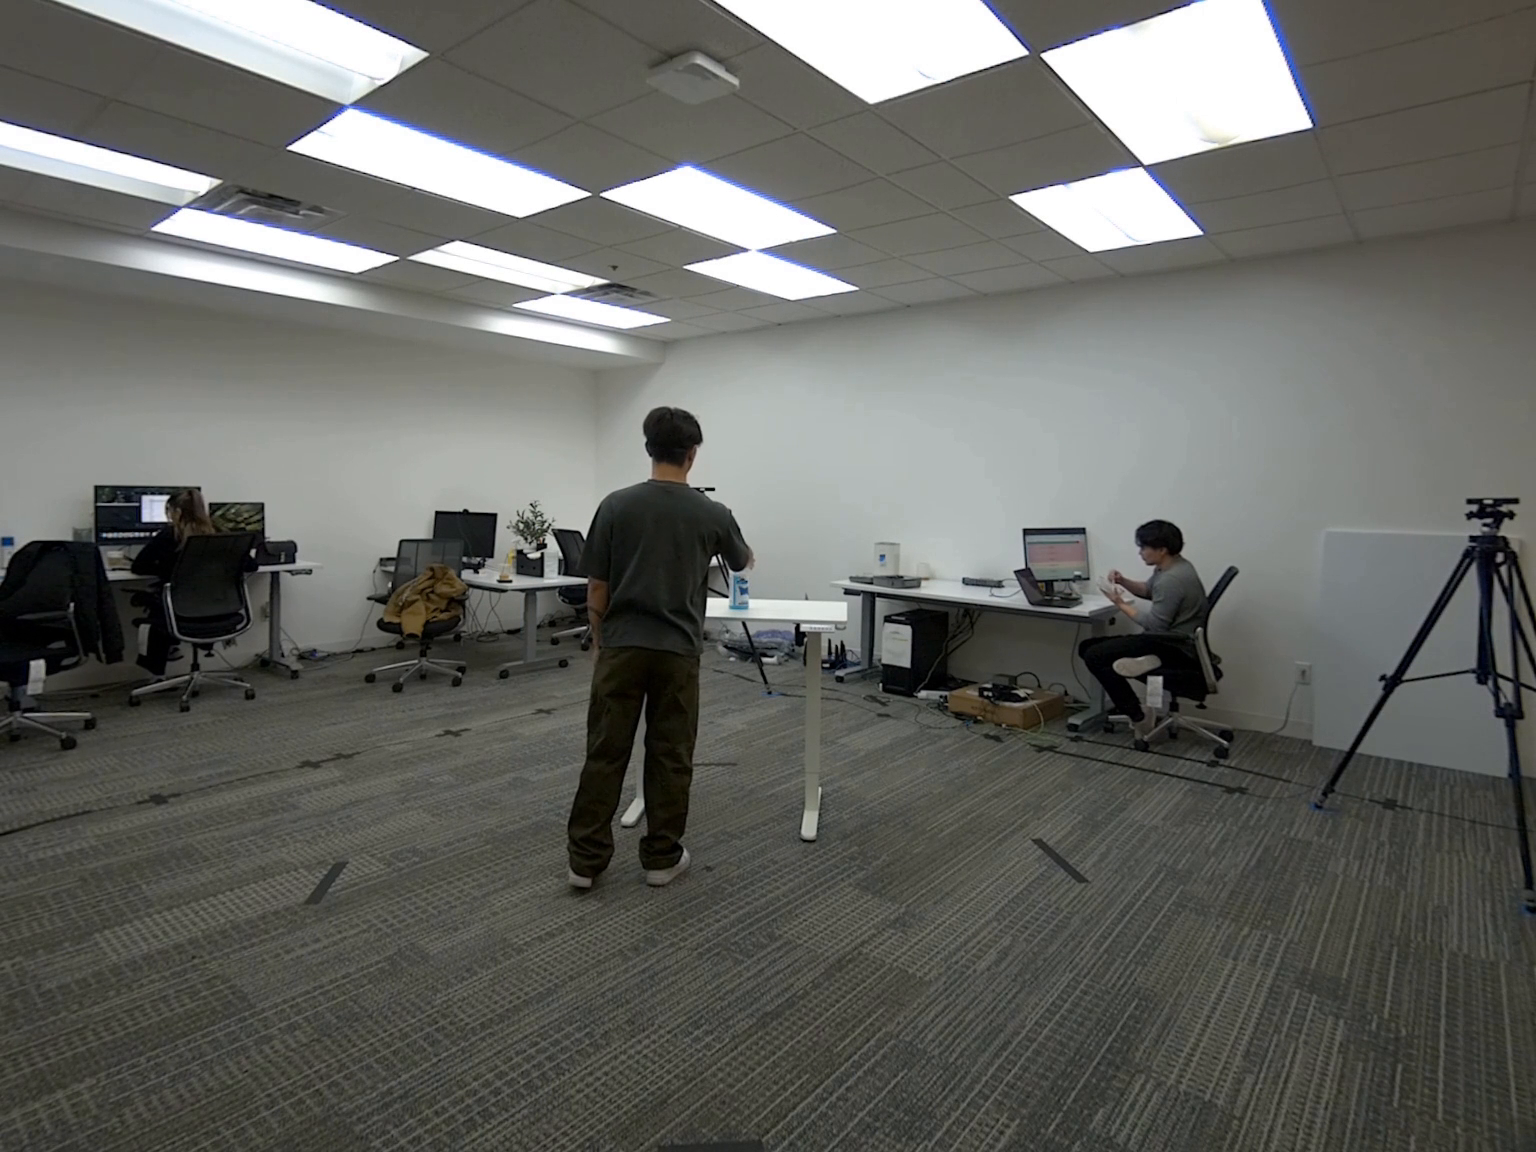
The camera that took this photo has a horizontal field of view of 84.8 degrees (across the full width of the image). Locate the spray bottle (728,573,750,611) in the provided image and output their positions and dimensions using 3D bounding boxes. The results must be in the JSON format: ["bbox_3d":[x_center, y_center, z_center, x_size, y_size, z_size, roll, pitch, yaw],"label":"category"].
[{"bbox_3d":[-0.132,-0.012,3.628,0.089,0.297,0.088,0,1,24],"label":"spray bottle"}]
